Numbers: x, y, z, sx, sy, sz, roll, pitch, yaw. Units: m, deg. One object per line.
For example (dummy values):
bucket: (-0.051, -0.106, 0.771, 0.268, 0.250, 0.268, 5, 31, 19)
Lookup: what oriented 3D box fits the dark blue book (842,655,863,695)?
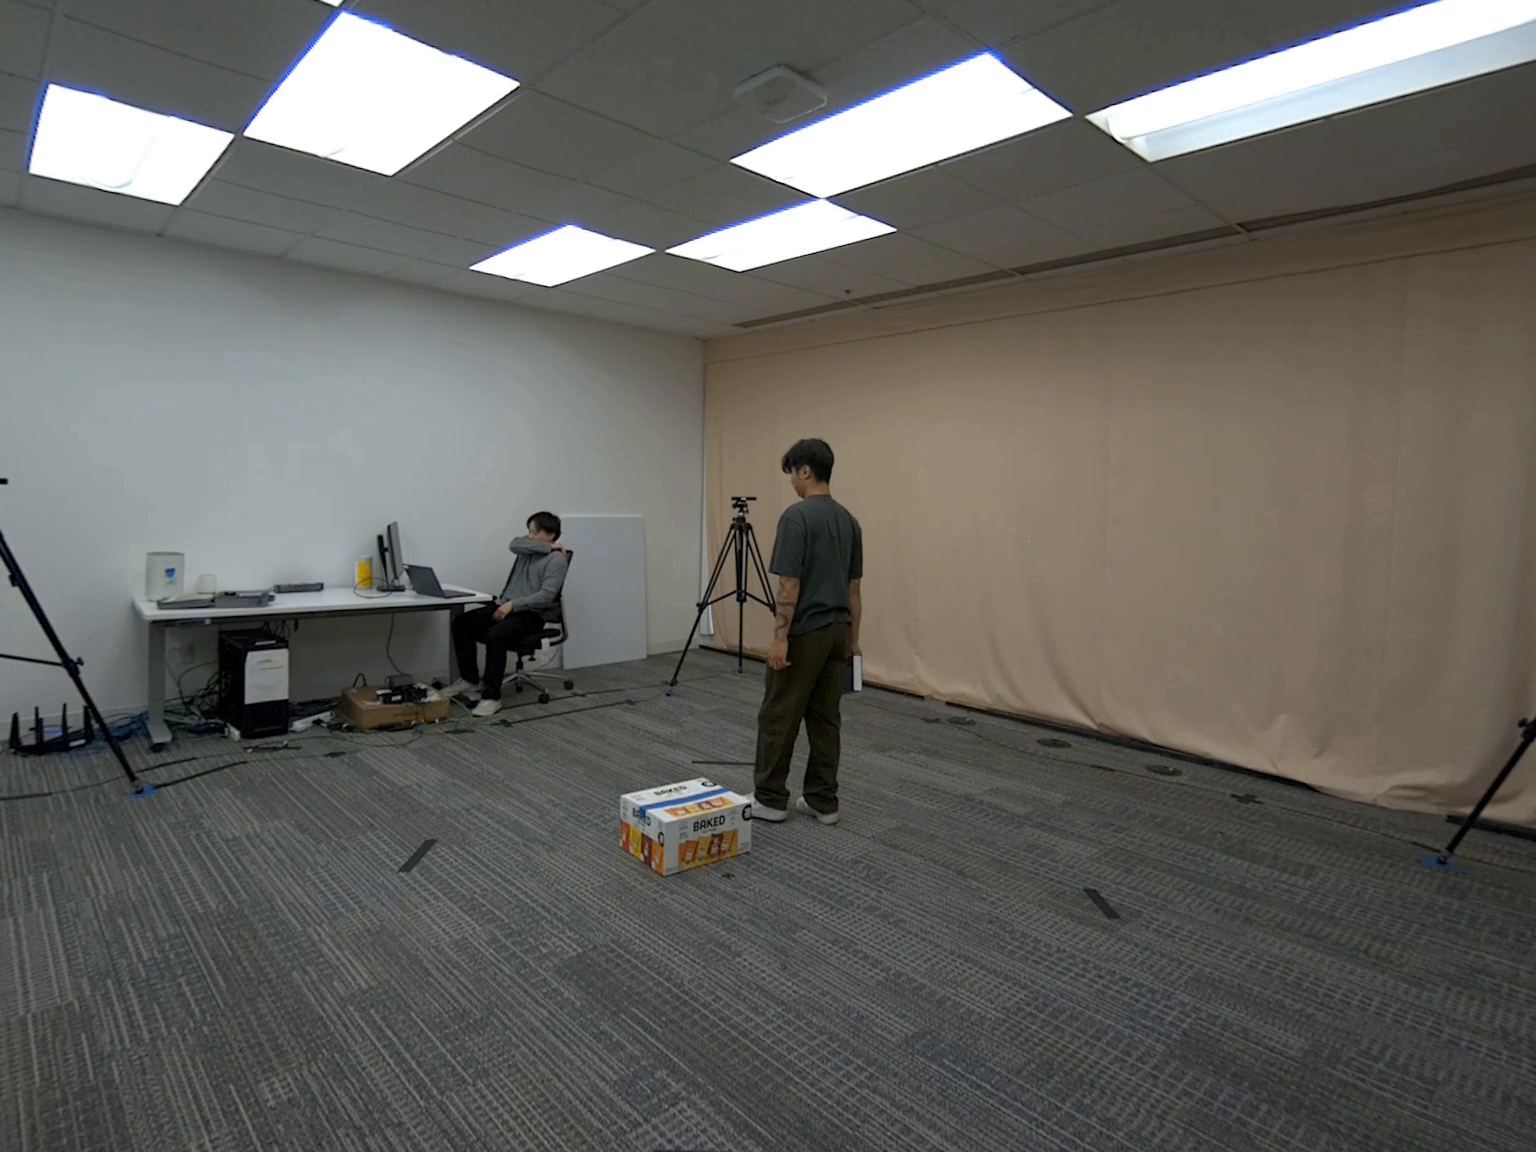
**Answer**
dark blue book: (0.351, 0.452, 3.866, 0.045, 0.165, 0.245, 4, -14, -13)
